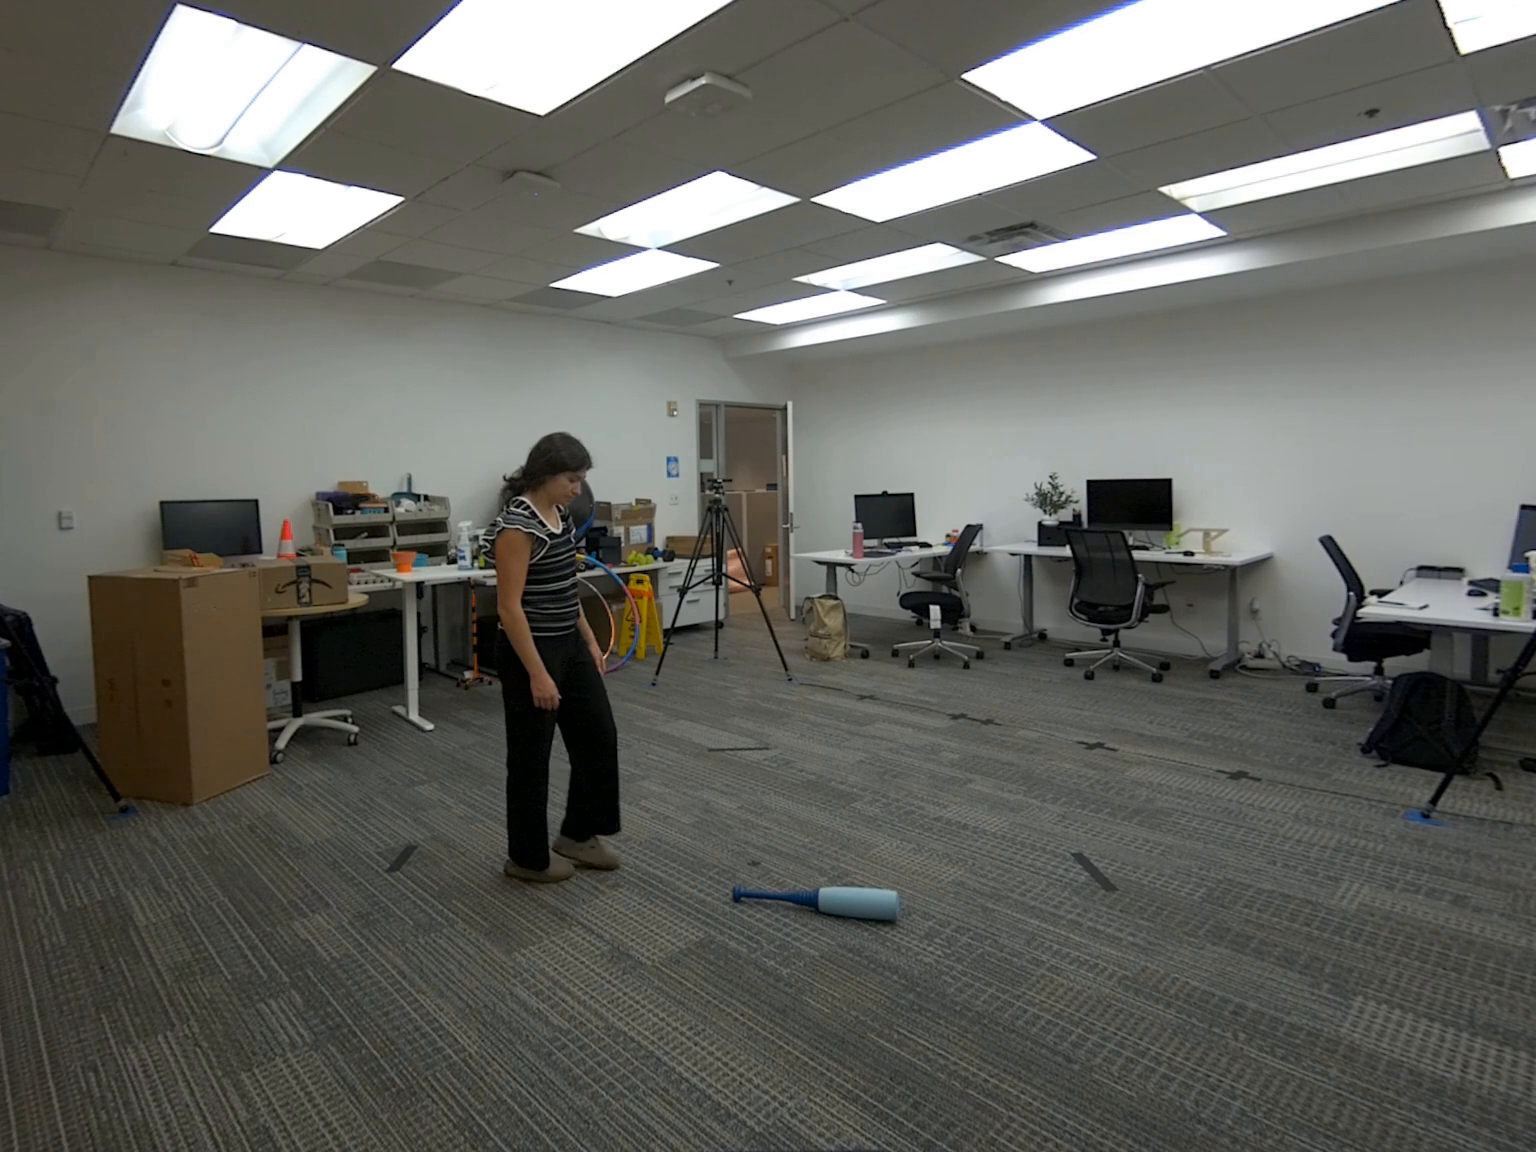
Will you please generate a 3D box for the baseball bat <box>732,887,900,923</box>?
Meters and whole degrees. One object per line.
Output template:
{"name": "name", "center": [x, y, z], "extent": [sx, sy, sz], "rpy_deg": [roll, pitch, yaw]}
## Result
{"name": "baseball bat", "center": [0.150, 1.041, 2.759], "extent": [0.551, 0.089, 0.088], "rpy_deg": [-3, 4, 16]}
